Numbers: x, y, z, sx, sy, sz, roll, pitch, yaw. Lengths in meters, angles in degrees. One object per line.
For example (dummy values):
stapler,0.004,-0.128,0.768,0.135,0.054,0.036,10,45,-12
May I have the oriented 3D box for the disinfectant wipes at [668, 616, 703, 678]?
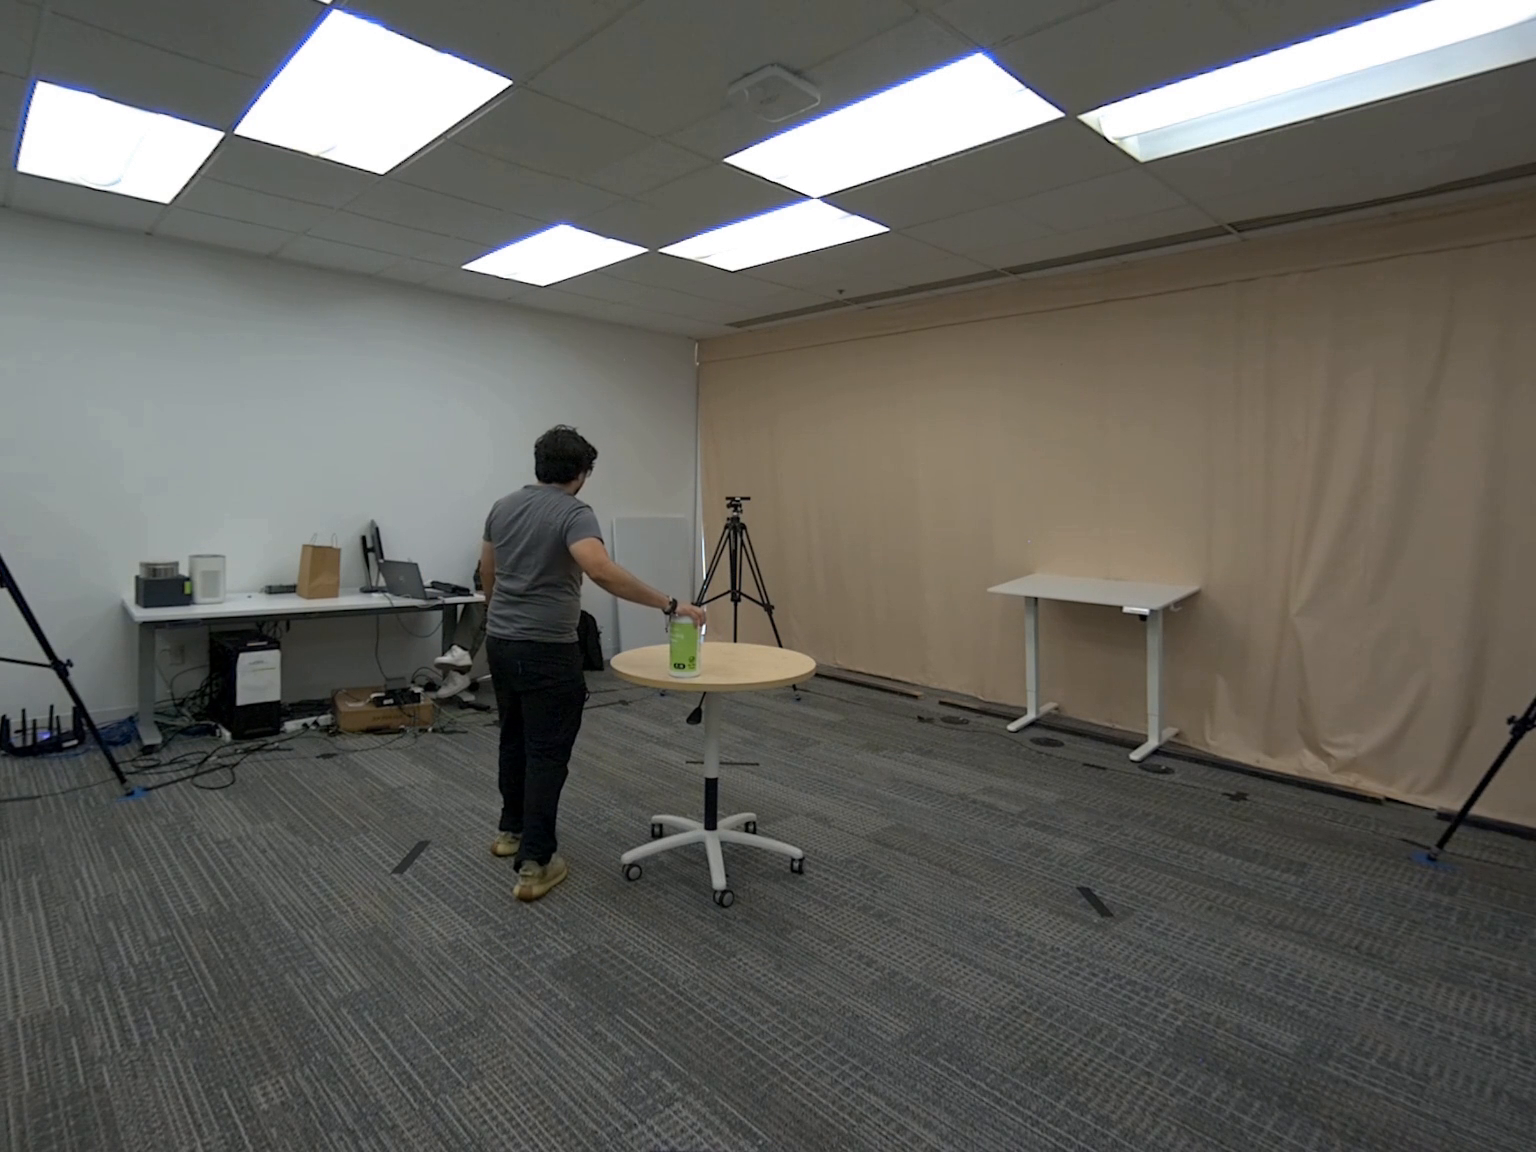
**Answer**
disinfectant wipes,-0.295,0.236,2.894,0.118,0.216,0.118,0,5,-1
